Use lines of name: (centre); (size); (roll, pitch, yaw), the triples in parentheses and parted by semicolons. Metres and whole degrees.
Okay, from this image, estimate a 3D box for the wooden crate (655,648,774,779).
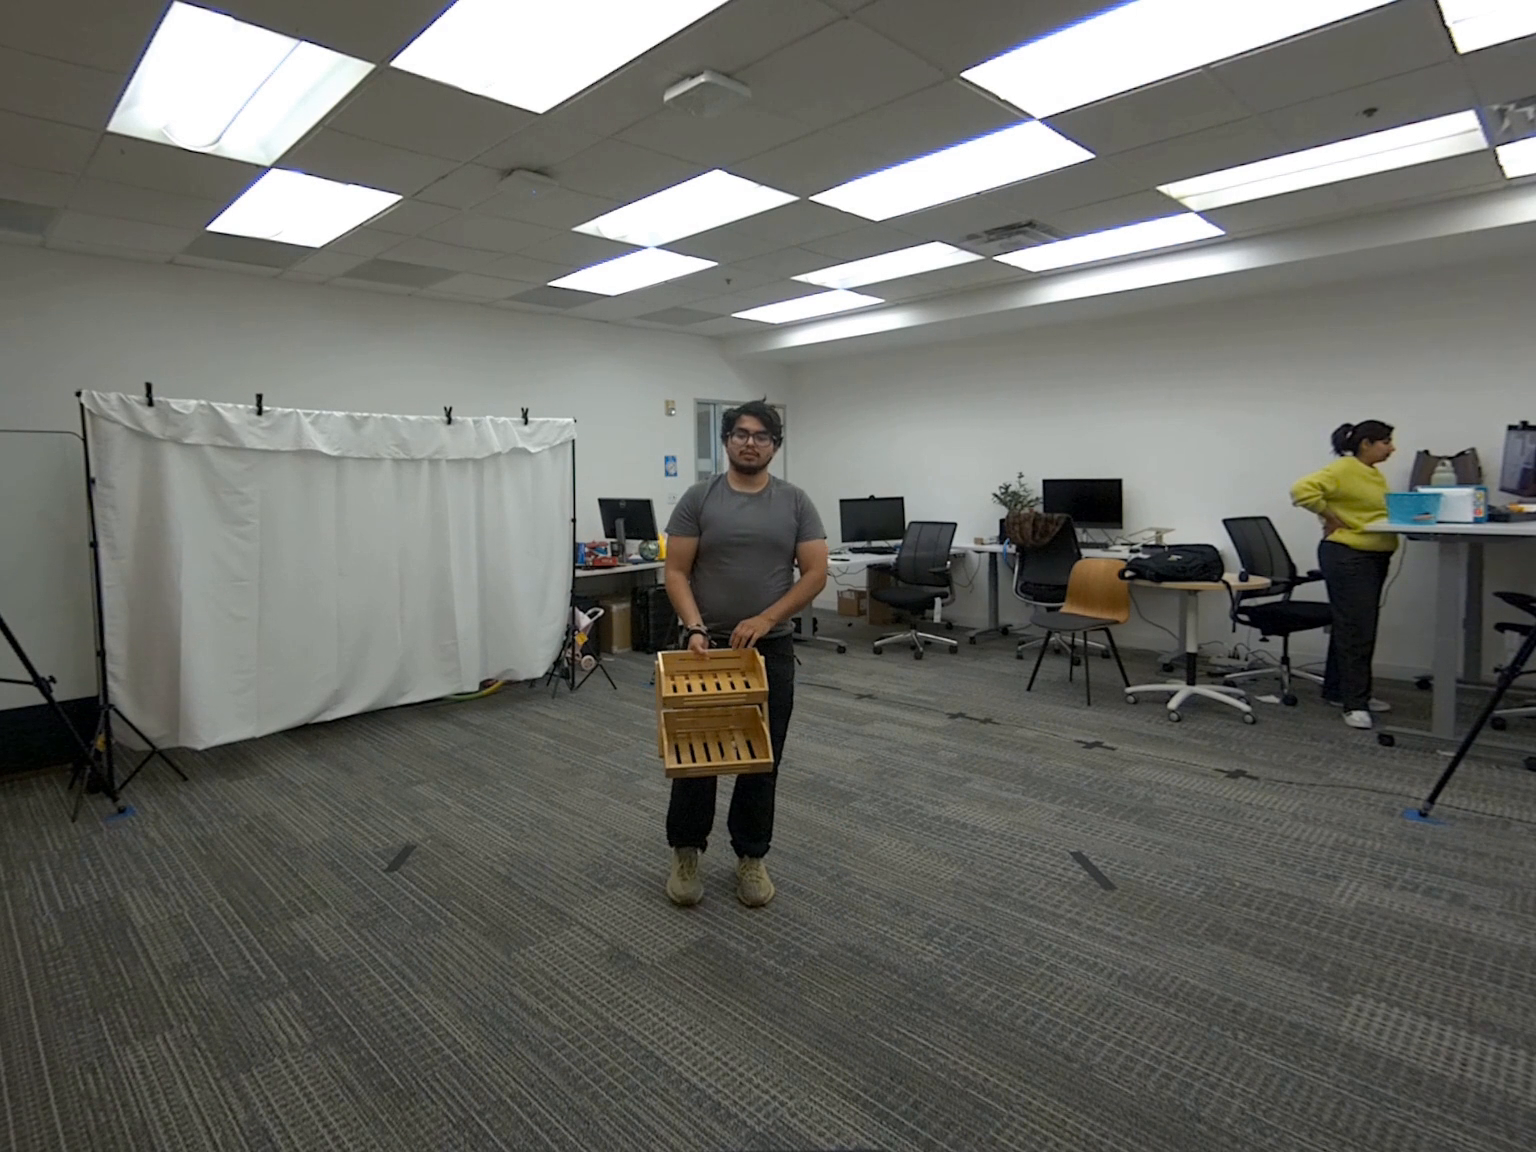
wooden crate: (-0.160, 0.397, 2.474); (0.322, 0.269, 0.309); (-2, 16, -10)
